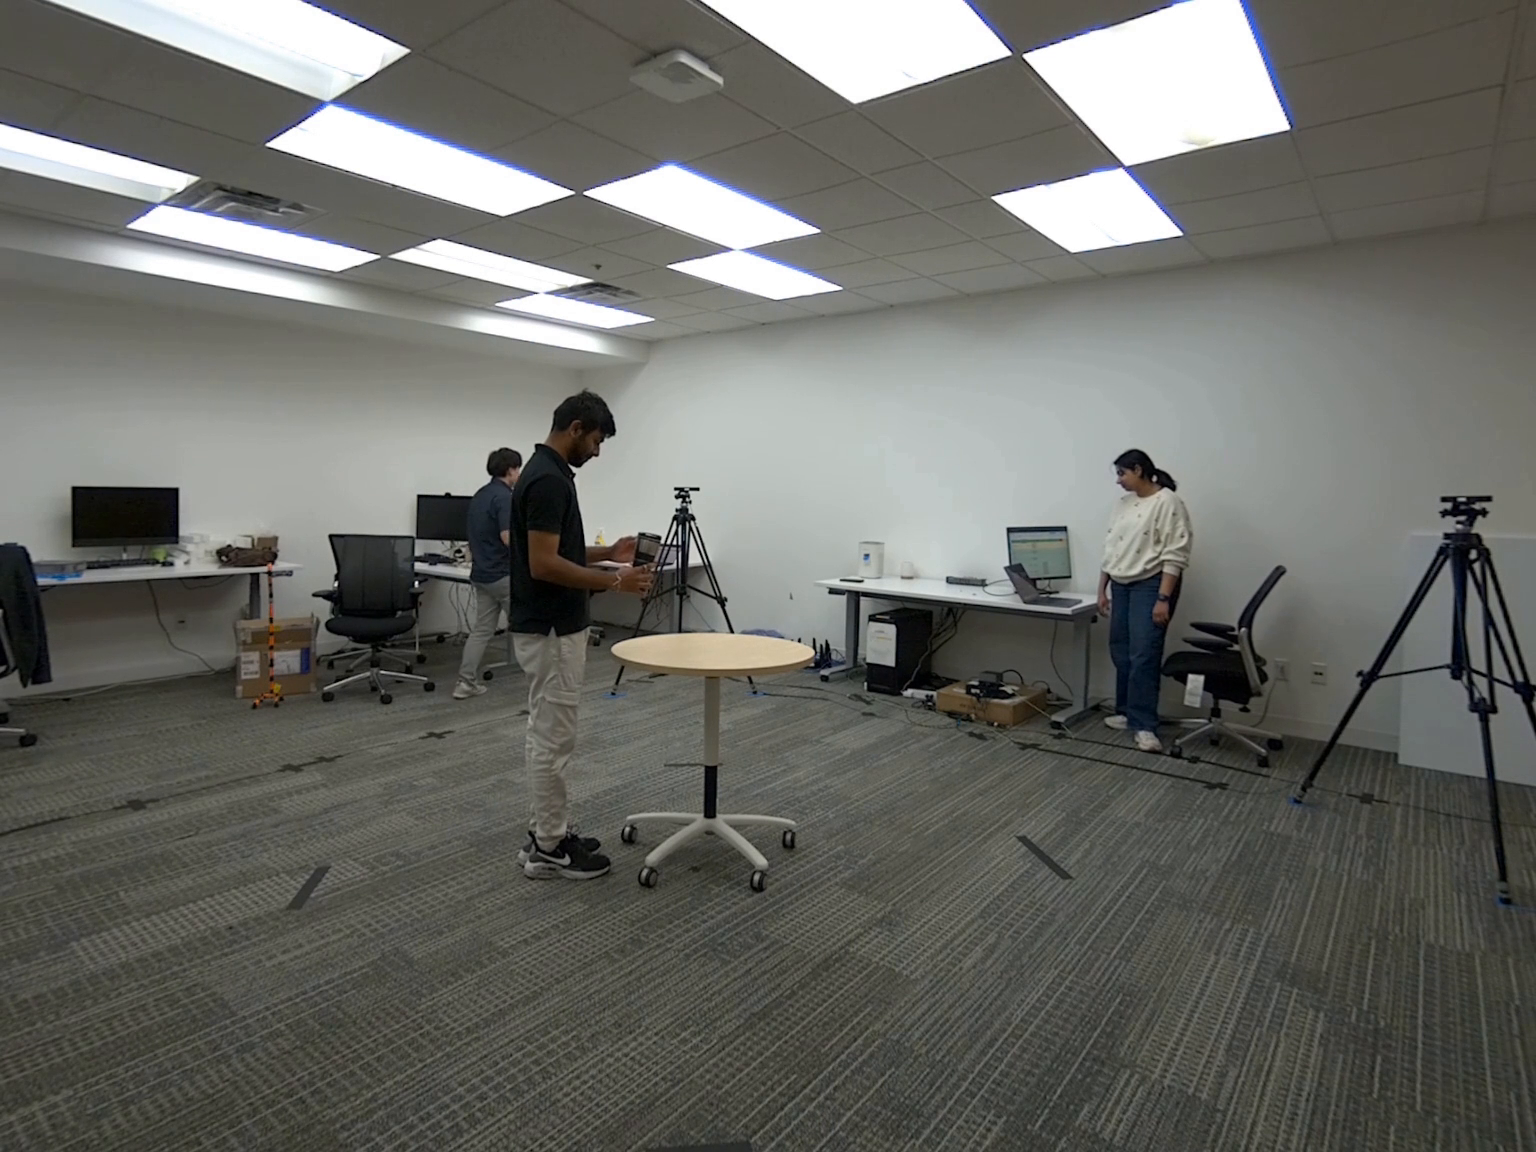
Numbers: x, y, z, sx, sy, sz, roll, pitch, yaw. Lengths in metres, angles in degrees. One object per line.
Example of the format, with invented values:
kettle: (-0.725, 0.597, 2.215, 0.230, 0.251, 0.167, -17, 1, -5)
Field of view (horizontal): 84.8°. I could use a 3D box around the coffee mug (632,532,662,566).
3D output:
coffee mug: (-0.453, -0.052, 3.032, 0.089, 0.202, 0.120, 13, 4, 12)
